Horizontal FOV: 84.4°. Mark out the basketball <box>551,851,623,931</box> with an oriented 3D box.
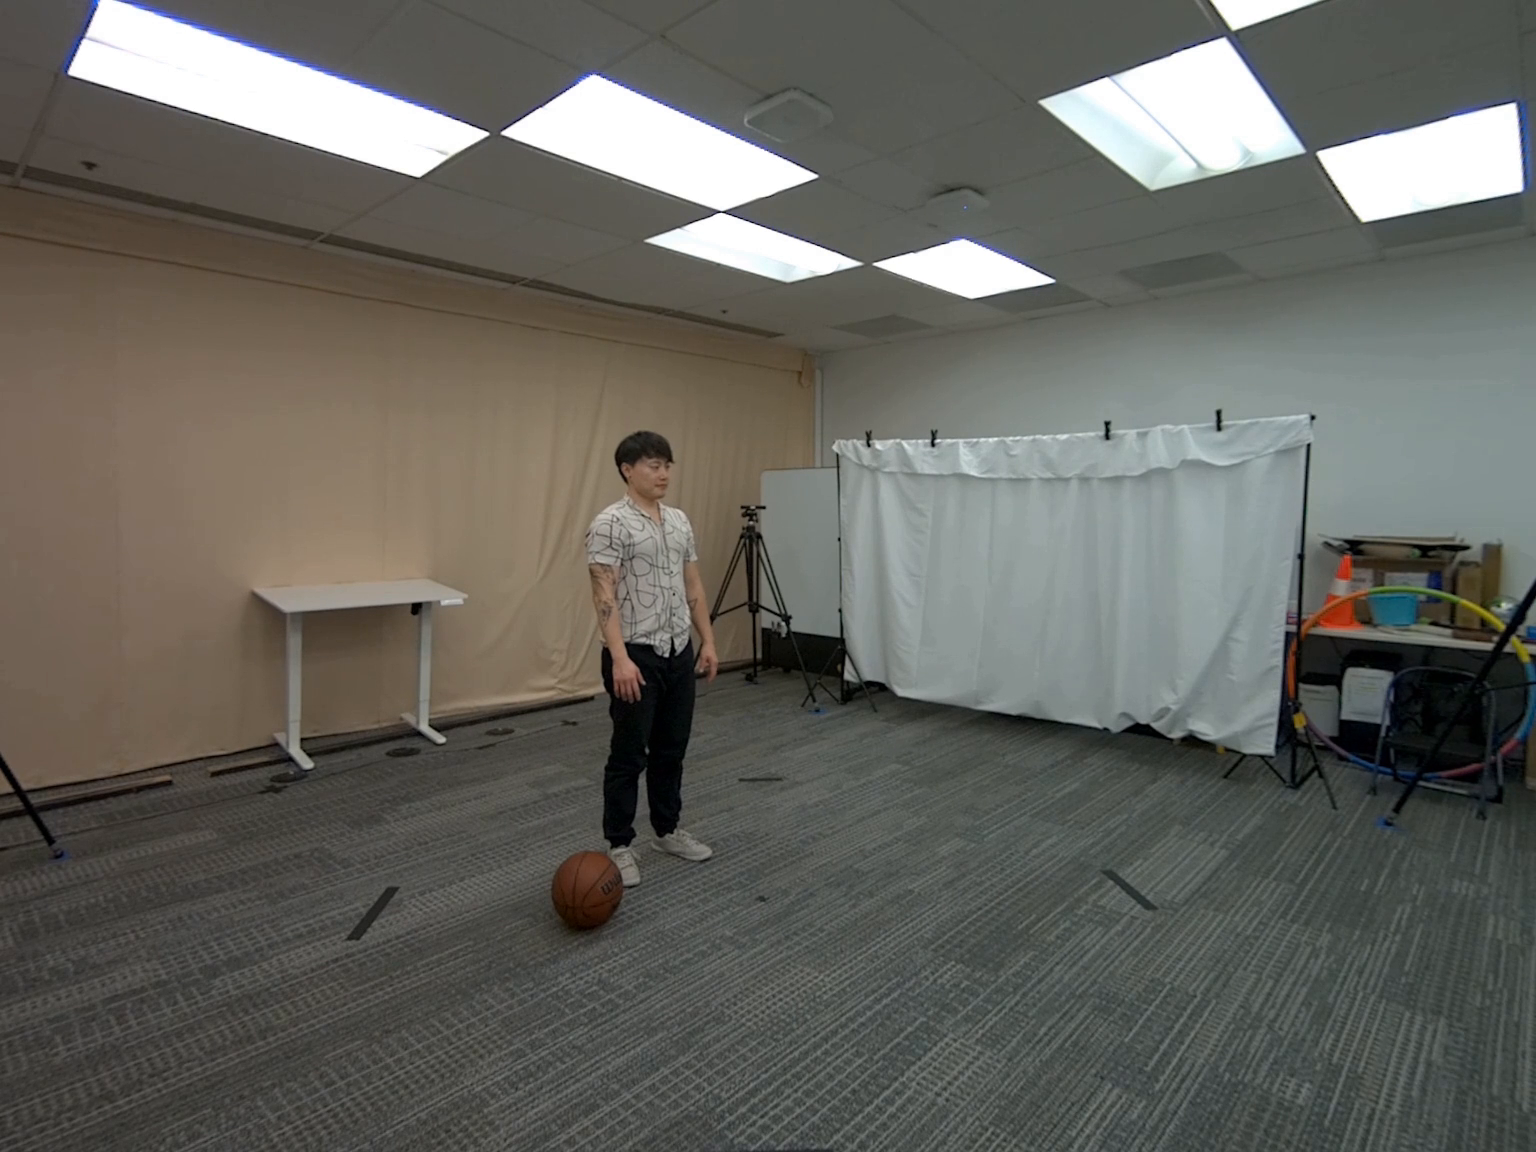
[{"bbox_3d":[-0.599,1.039,2.812,0.236,0.235,0.237,0,4,-2],"label":"basketball"}]
